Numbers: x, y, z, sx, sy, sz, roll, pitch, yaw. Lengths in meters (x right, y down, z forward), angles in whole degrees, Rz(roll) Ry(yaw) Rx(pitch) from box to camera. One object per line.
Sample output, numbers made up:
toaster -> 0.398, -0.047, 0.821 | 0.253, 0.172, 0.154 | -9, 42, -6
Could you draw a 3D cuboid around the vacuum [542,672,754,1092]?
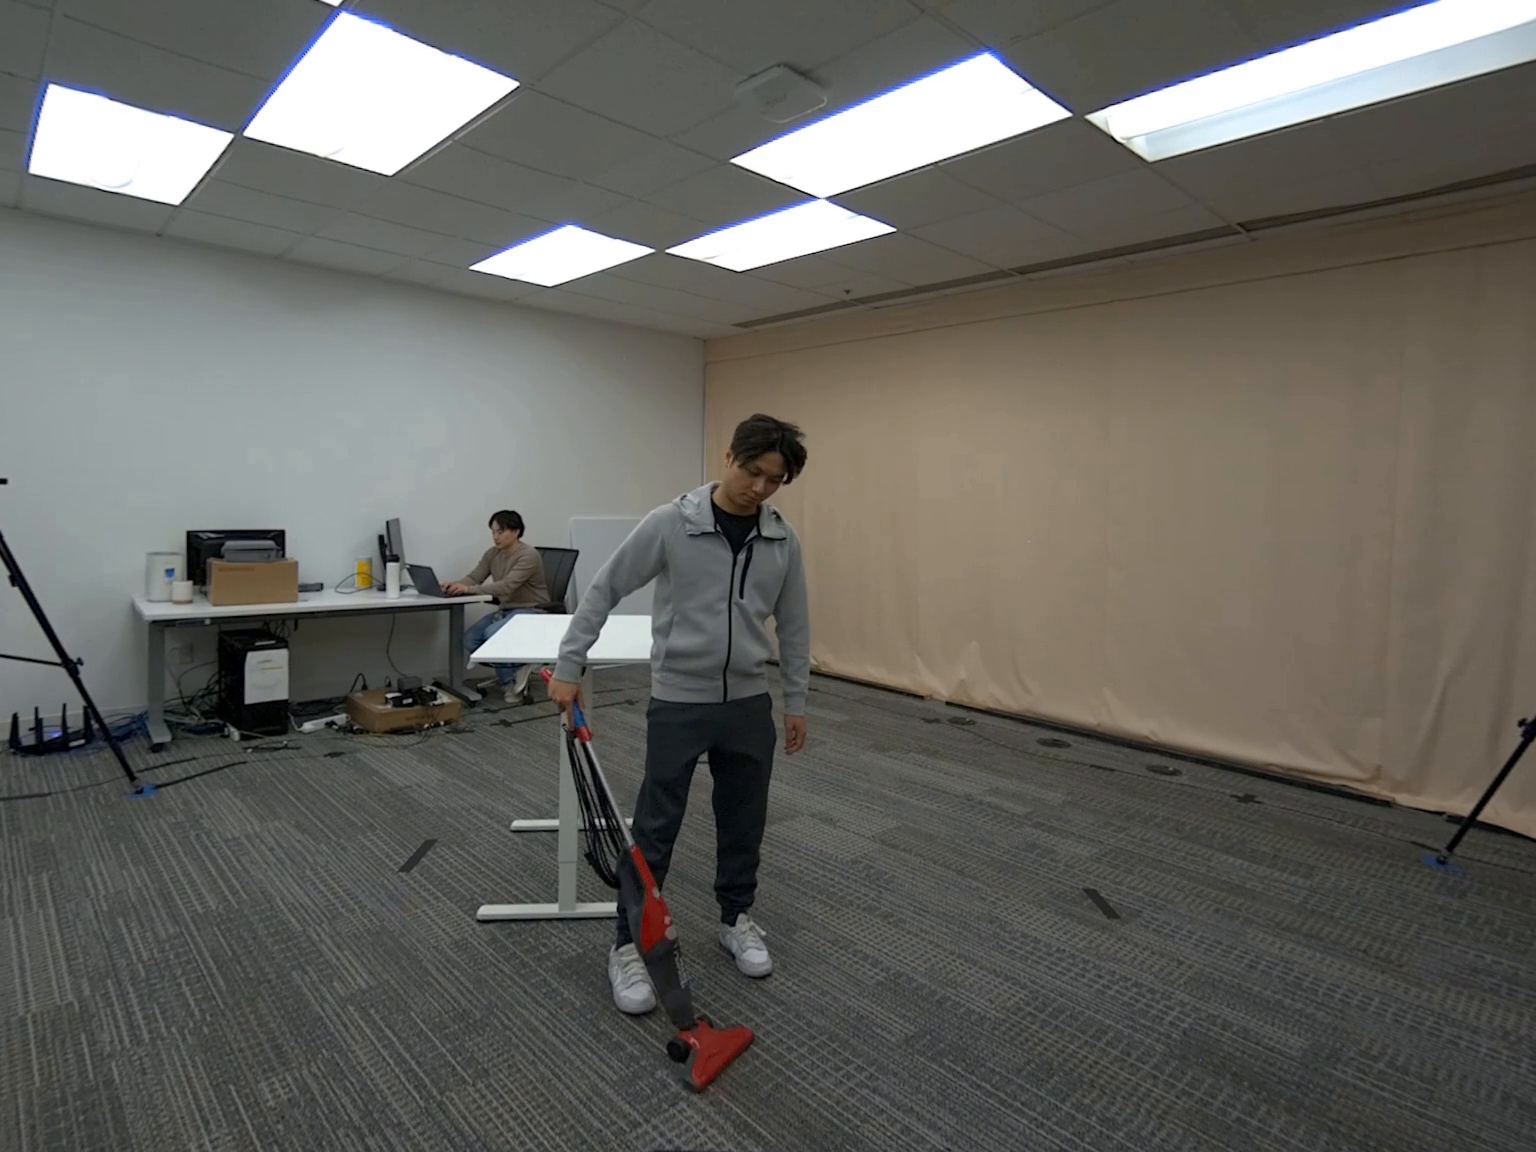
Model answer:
vacuum -> -0.392, 0.745, 2.223 | 0.144, 1.065, 0.247 | -37, -17, 31
